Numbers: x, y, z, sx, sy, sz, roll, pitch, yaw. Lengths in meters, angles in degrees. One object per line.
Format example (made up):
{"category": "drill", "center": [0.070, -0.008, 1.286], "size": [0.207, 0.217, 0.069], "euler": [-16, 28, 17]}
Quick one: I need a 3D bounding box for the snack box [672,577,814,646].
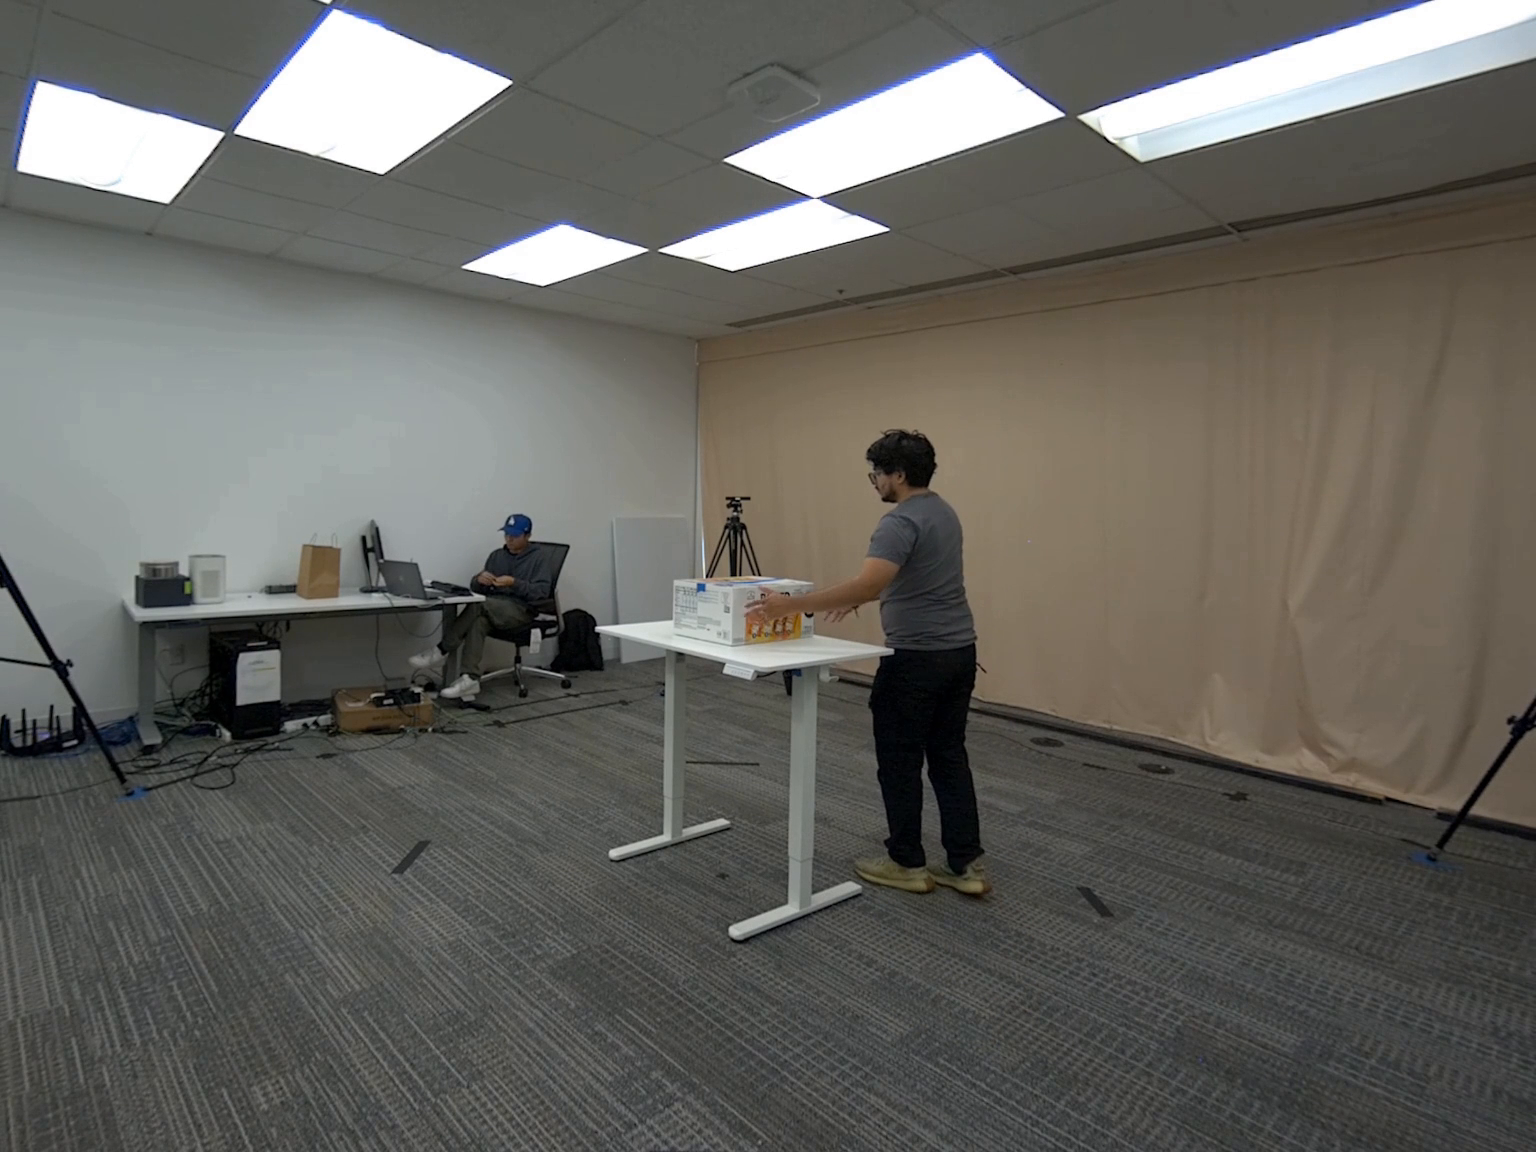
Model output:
{"category": "snack box", "center": [-0.094, 0.121, 3.120], "size": [0.396, 0.205, 0.349], "euler": [-3, 5, -42]}
